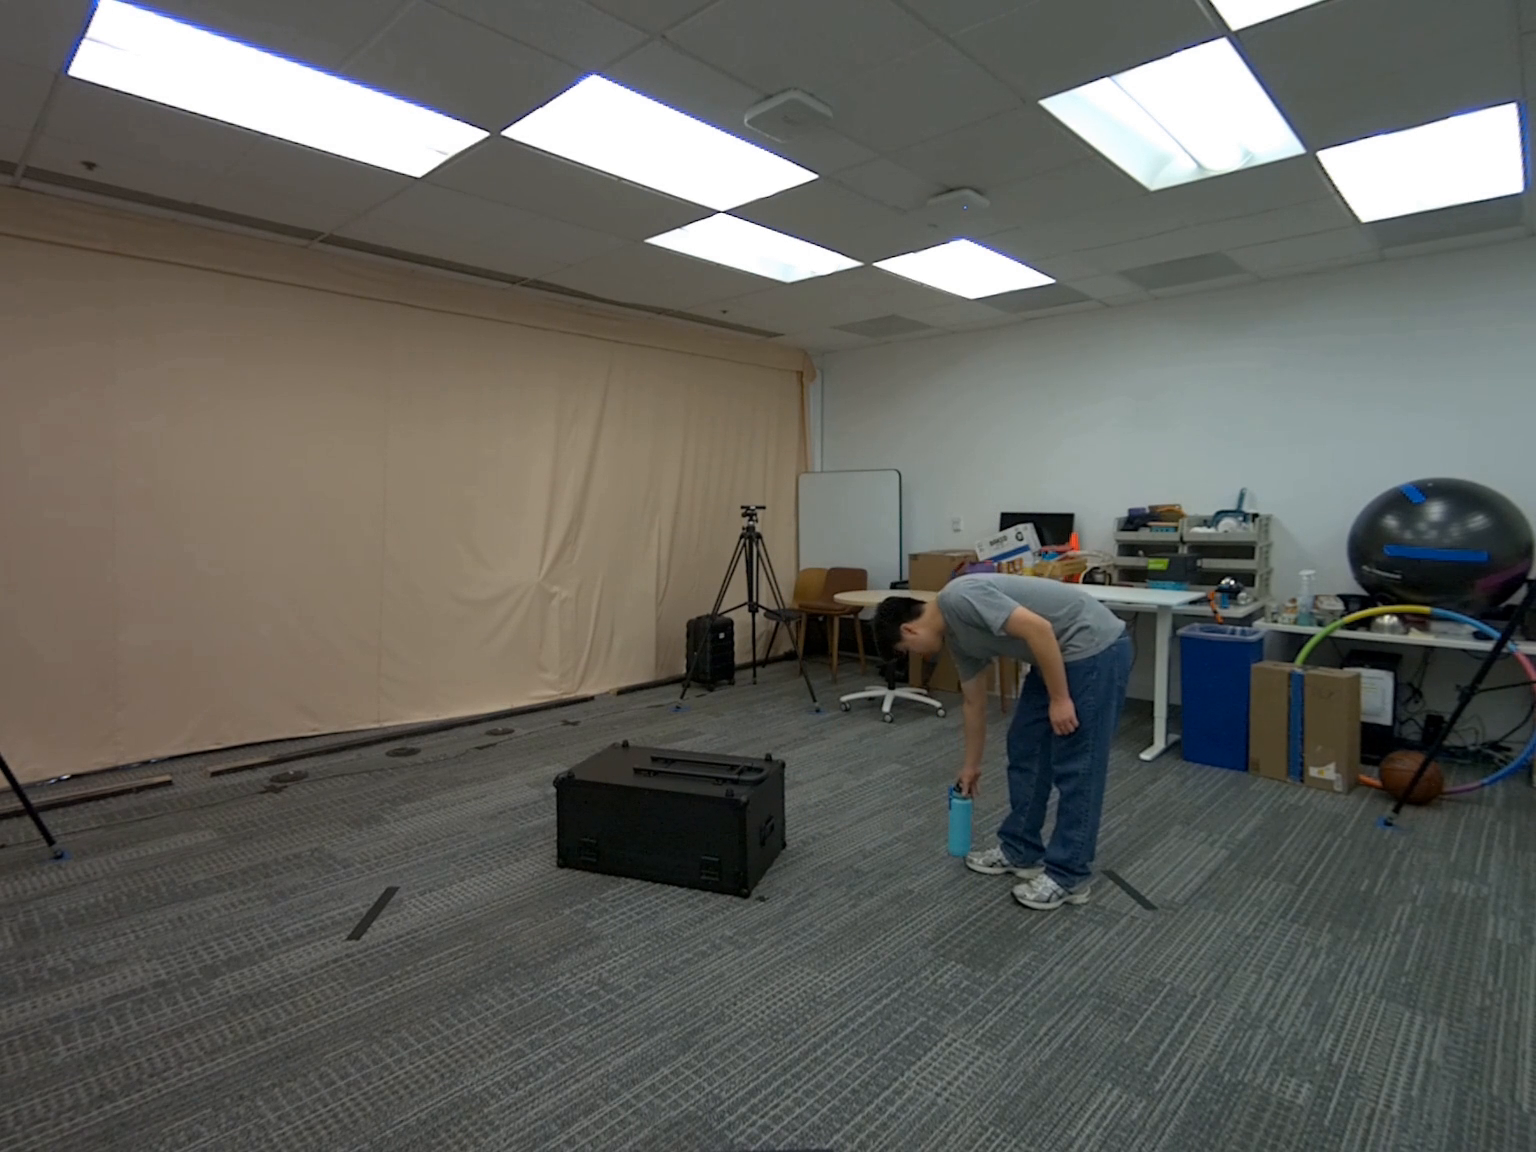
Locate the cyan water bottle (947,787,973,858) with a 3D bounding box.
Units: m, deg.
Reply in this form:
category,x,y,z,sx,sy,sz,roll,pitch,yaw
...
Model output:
category,x,y,z,sx,sy,sz,roll,pitch,yaw
cyan water bottle,0.773,0.970,3.376,0.092,0.283,0.092,-2,3,-2
